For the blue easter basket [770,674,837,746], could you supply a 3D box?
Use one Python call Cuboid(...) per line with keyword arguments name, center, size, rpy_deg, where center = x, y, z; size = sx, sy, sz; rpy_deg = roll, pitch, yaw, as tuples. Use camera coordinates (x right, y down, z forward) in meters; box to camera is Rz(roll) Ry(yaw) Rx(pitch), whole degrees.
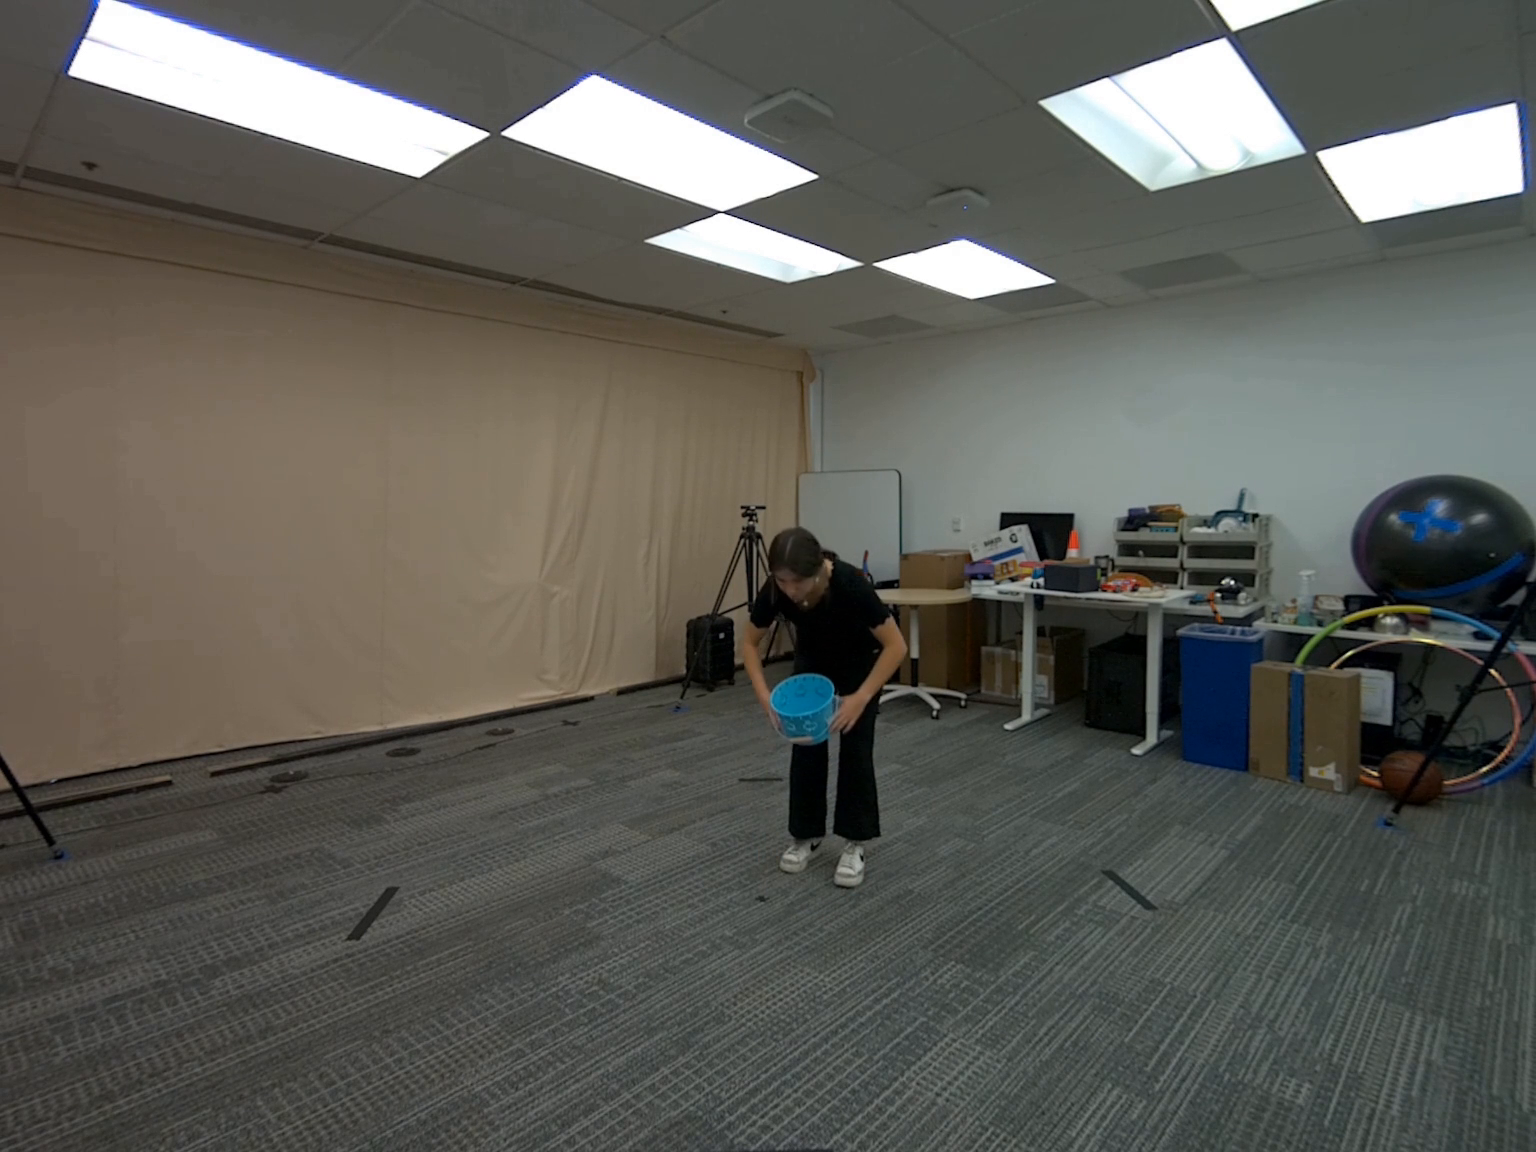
Cuboid(name="blue easter basket", center=(0.130, 0.492, 2.981), size=(0.244, 0.153, 0.247), rpy_deg=(-11, 24, 3))
